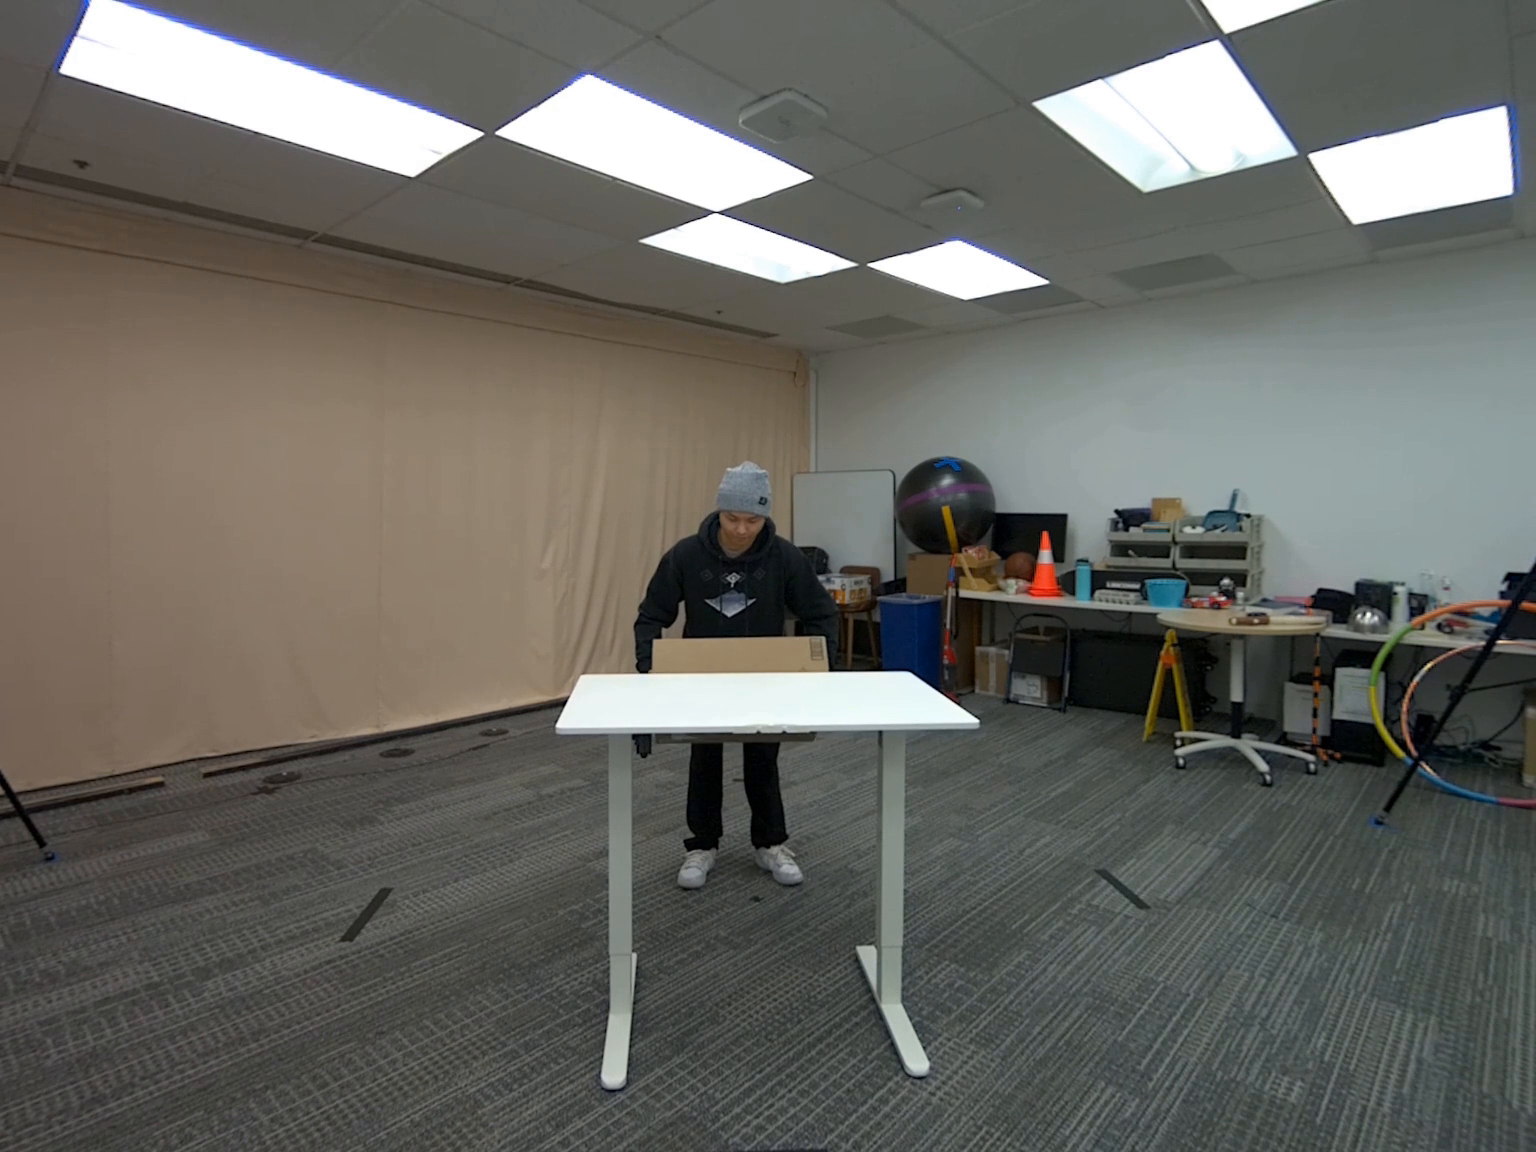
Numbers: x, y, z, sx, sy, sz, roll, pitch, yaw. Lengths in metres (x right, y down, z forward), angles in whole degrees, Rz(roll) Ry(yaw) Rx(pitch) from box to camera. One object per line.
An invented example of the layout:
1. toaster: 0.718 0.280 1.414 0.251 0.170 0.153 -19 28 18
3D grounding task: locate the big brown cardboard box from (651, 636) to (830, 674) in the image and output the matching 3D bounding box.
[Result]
1. big brown cardboard box: -0.108 0.396 2.867 0.588 0.237 0.411 -1 -29 -2
